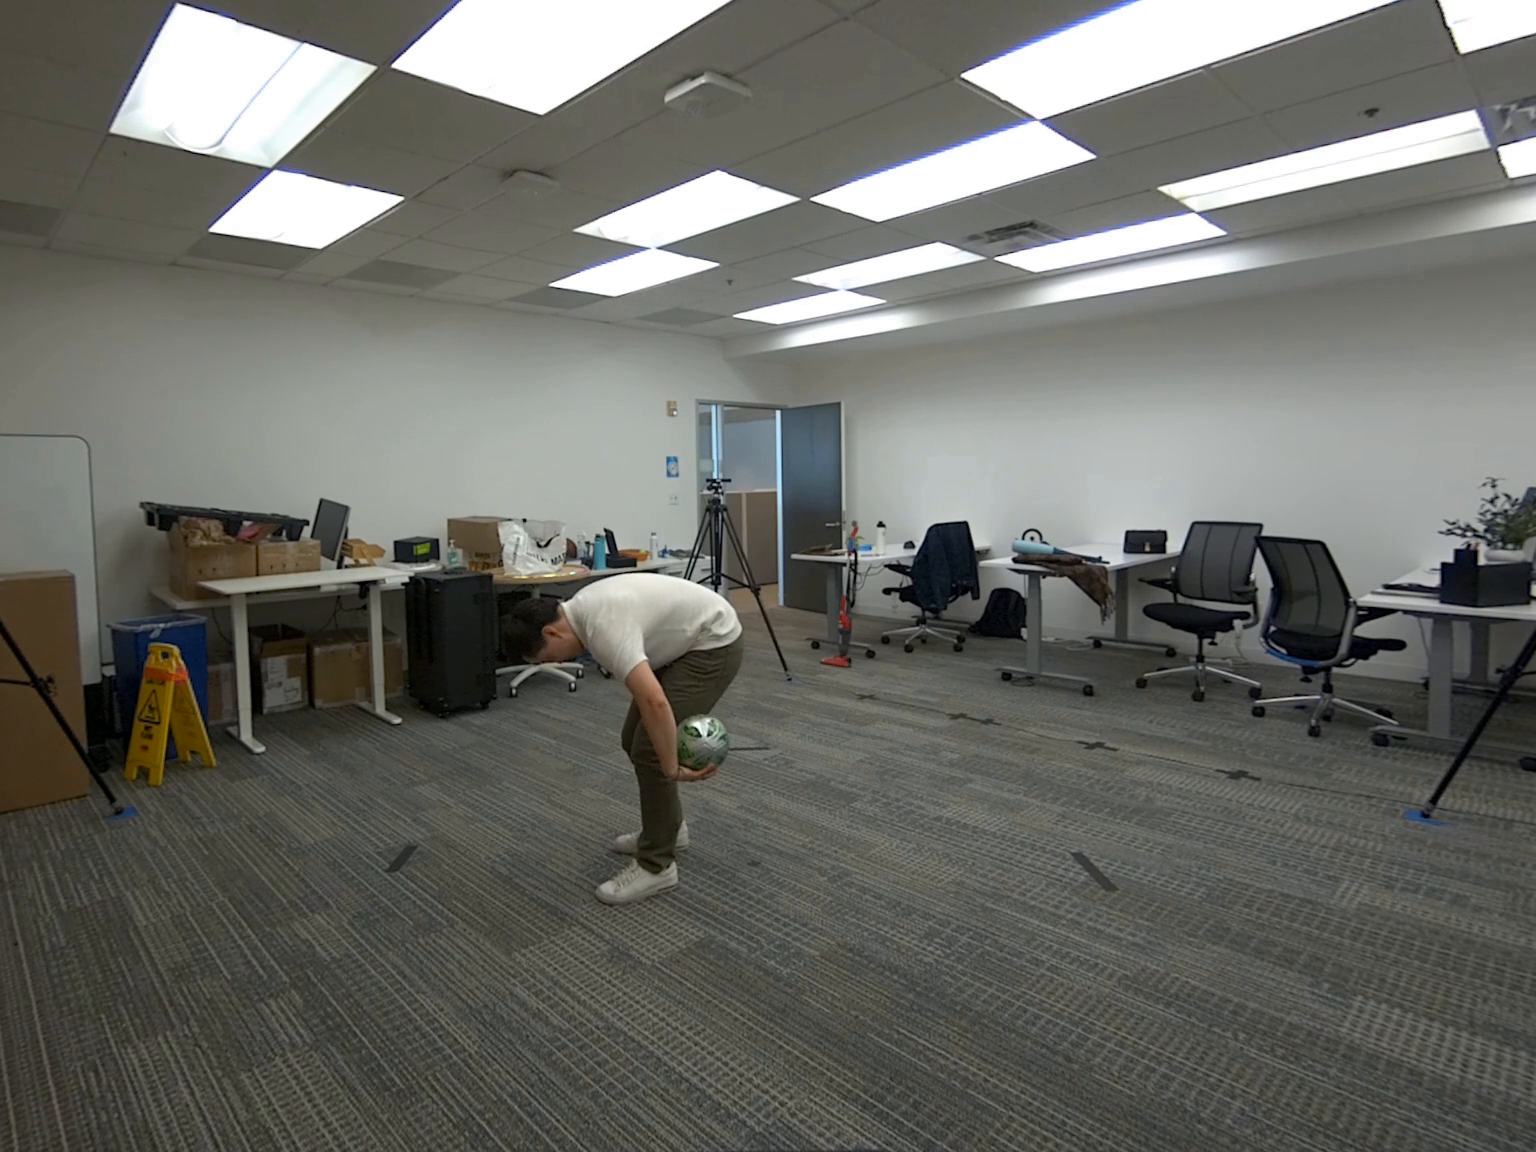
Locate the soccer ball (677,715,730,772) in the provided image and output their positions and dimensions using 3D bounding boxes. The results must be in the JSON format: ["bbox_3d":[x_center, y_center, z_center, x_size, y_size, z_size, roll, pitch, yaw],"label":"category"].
[{"bbox_3d":[-0.226,0.540,2.767,0.187,0.187,0.188,-1,5,-2],"label":"soccer ball"}]
